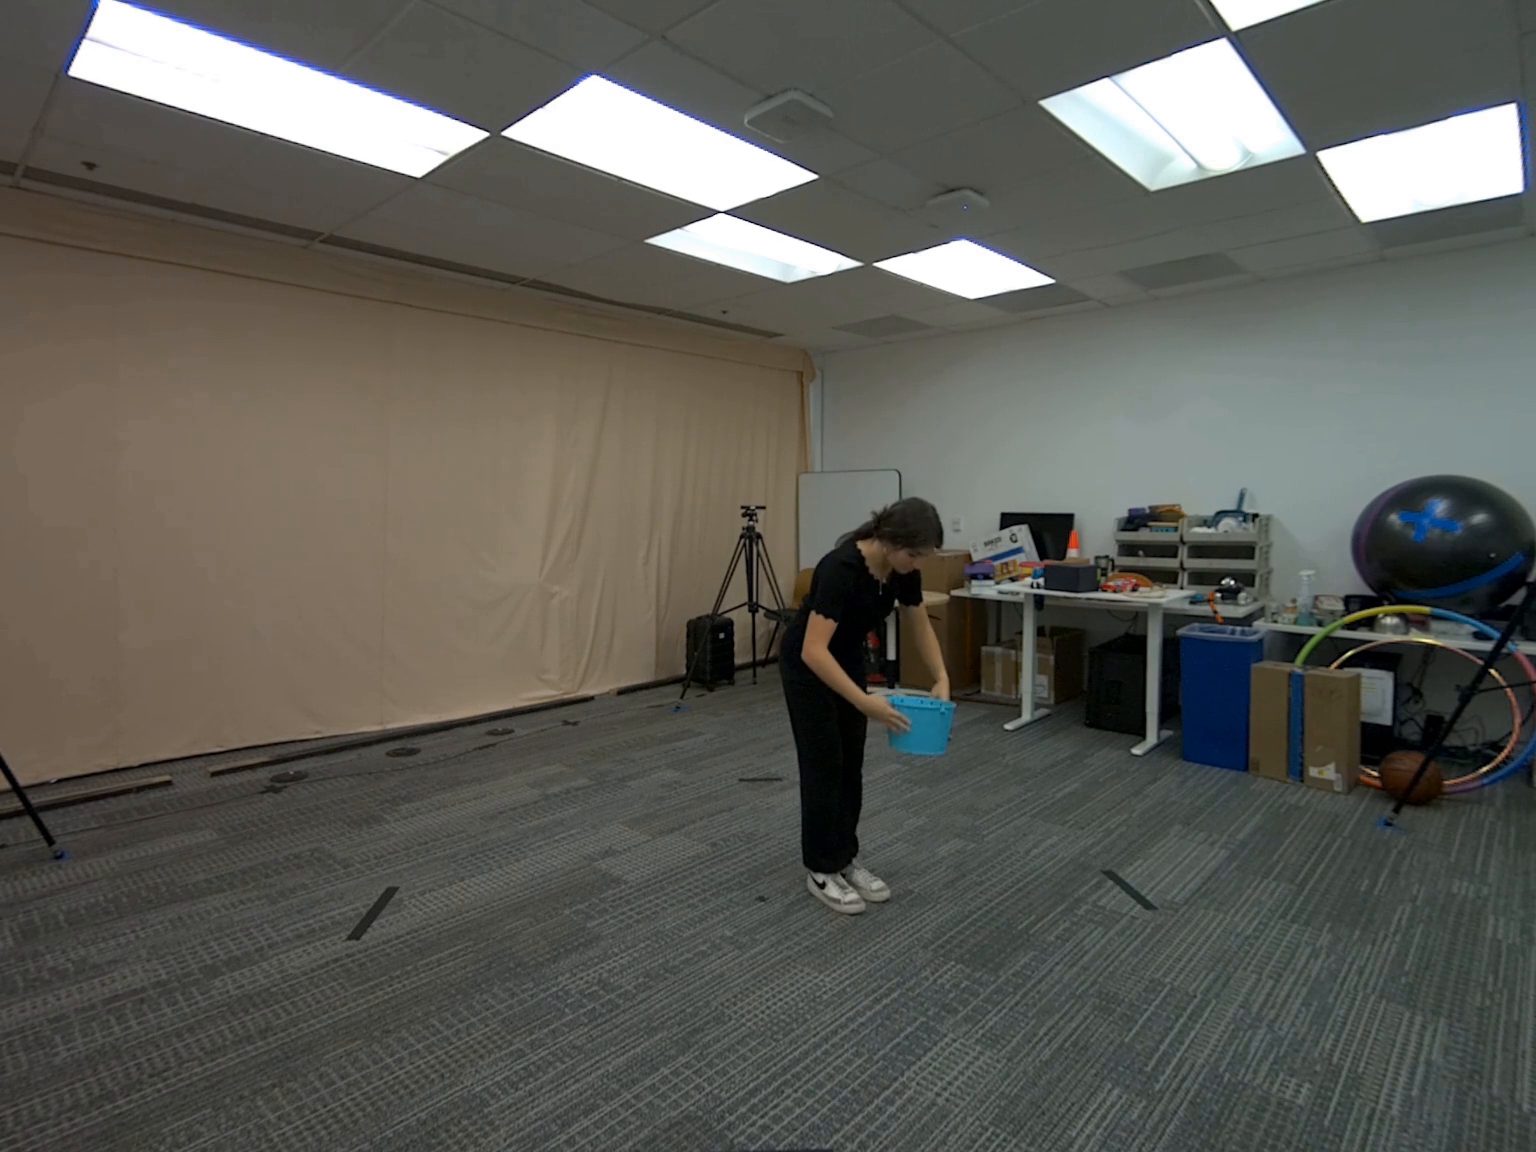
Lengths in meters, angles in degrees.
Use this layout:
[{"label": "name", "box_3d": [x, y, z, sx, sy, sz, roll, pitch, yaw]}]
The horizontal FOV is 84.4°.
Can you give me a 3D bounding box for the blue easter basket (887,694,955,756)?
[{"label": "blue easter basket", "box_3d": [0.504, 0.483, 2.730, 0.243, 0.156, 0.244, 2, 1, -2]}]
